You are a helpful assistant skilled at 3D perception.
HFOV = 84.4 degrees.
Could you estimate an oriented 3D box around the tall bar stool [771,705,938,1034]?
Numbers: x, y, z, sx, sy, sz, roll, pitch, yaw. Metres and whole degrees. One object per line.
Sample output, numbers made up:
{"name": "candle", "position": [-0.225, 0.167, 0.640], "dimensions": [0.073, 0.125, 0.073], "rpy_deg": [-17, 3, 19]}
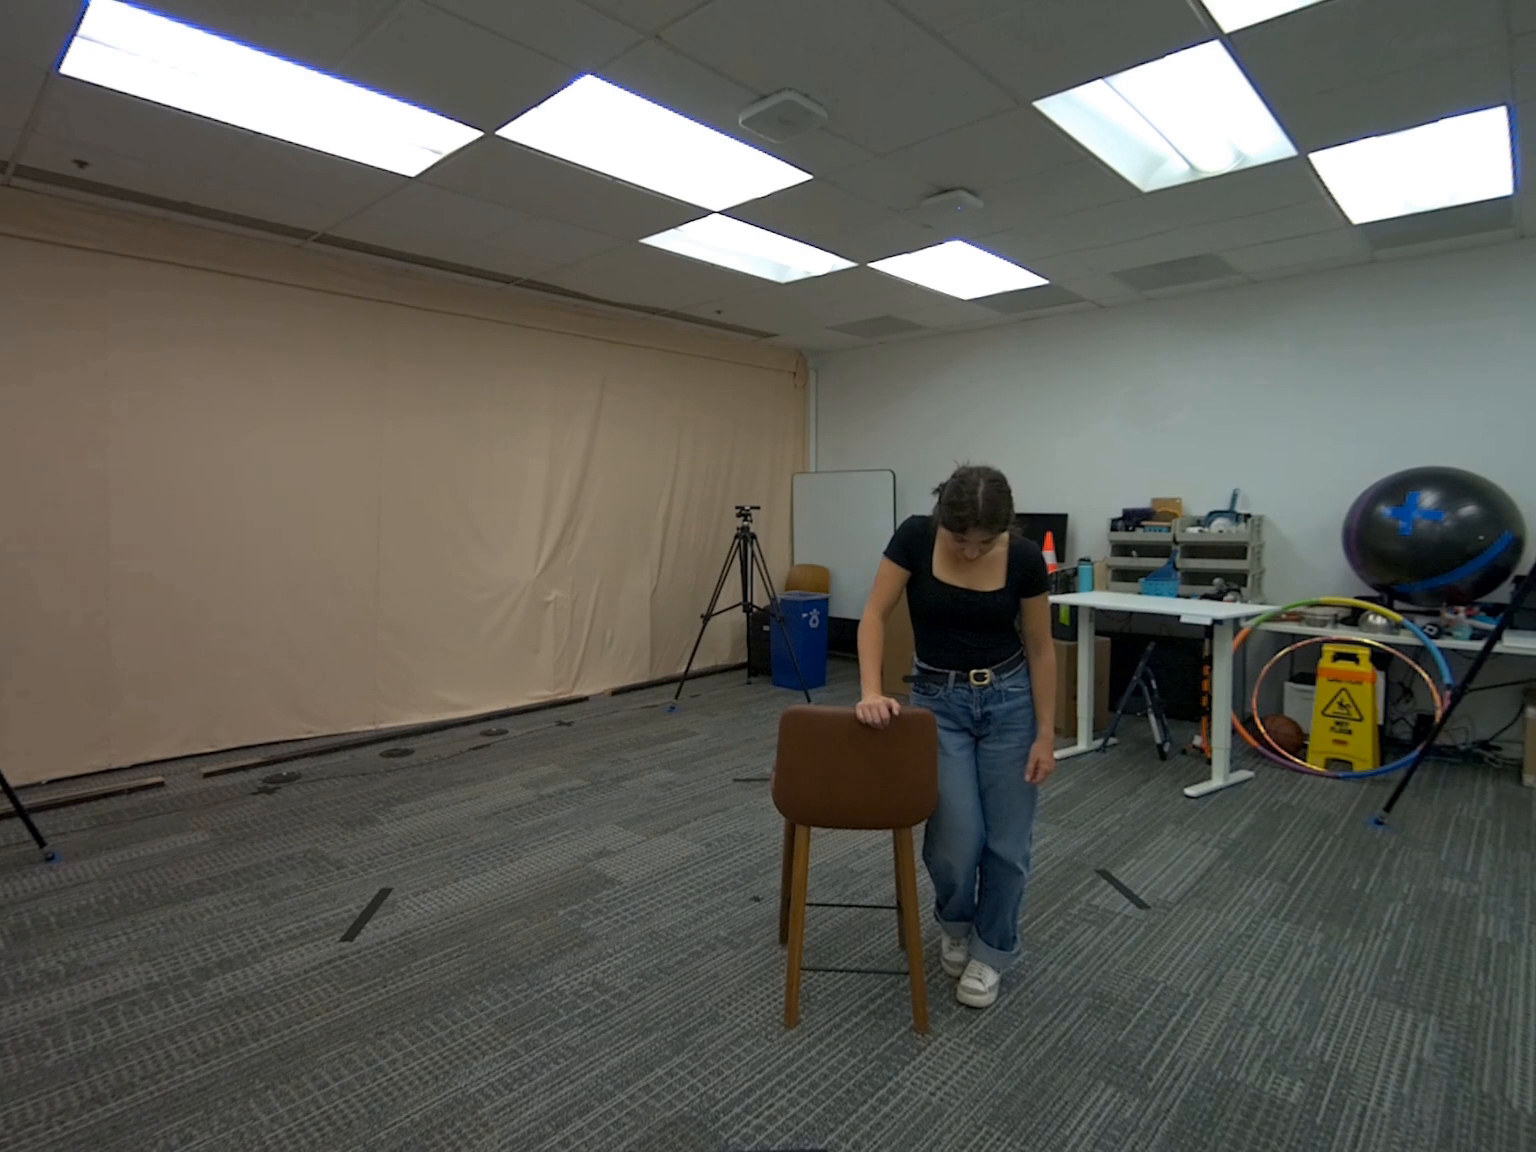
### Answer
{"name": "tall bar stool", "position": [0.239, 0.757, 2.417], "dimensions": [0.458, 0.887, 0.467], "rpy_deg": [1, 5, 2]}
